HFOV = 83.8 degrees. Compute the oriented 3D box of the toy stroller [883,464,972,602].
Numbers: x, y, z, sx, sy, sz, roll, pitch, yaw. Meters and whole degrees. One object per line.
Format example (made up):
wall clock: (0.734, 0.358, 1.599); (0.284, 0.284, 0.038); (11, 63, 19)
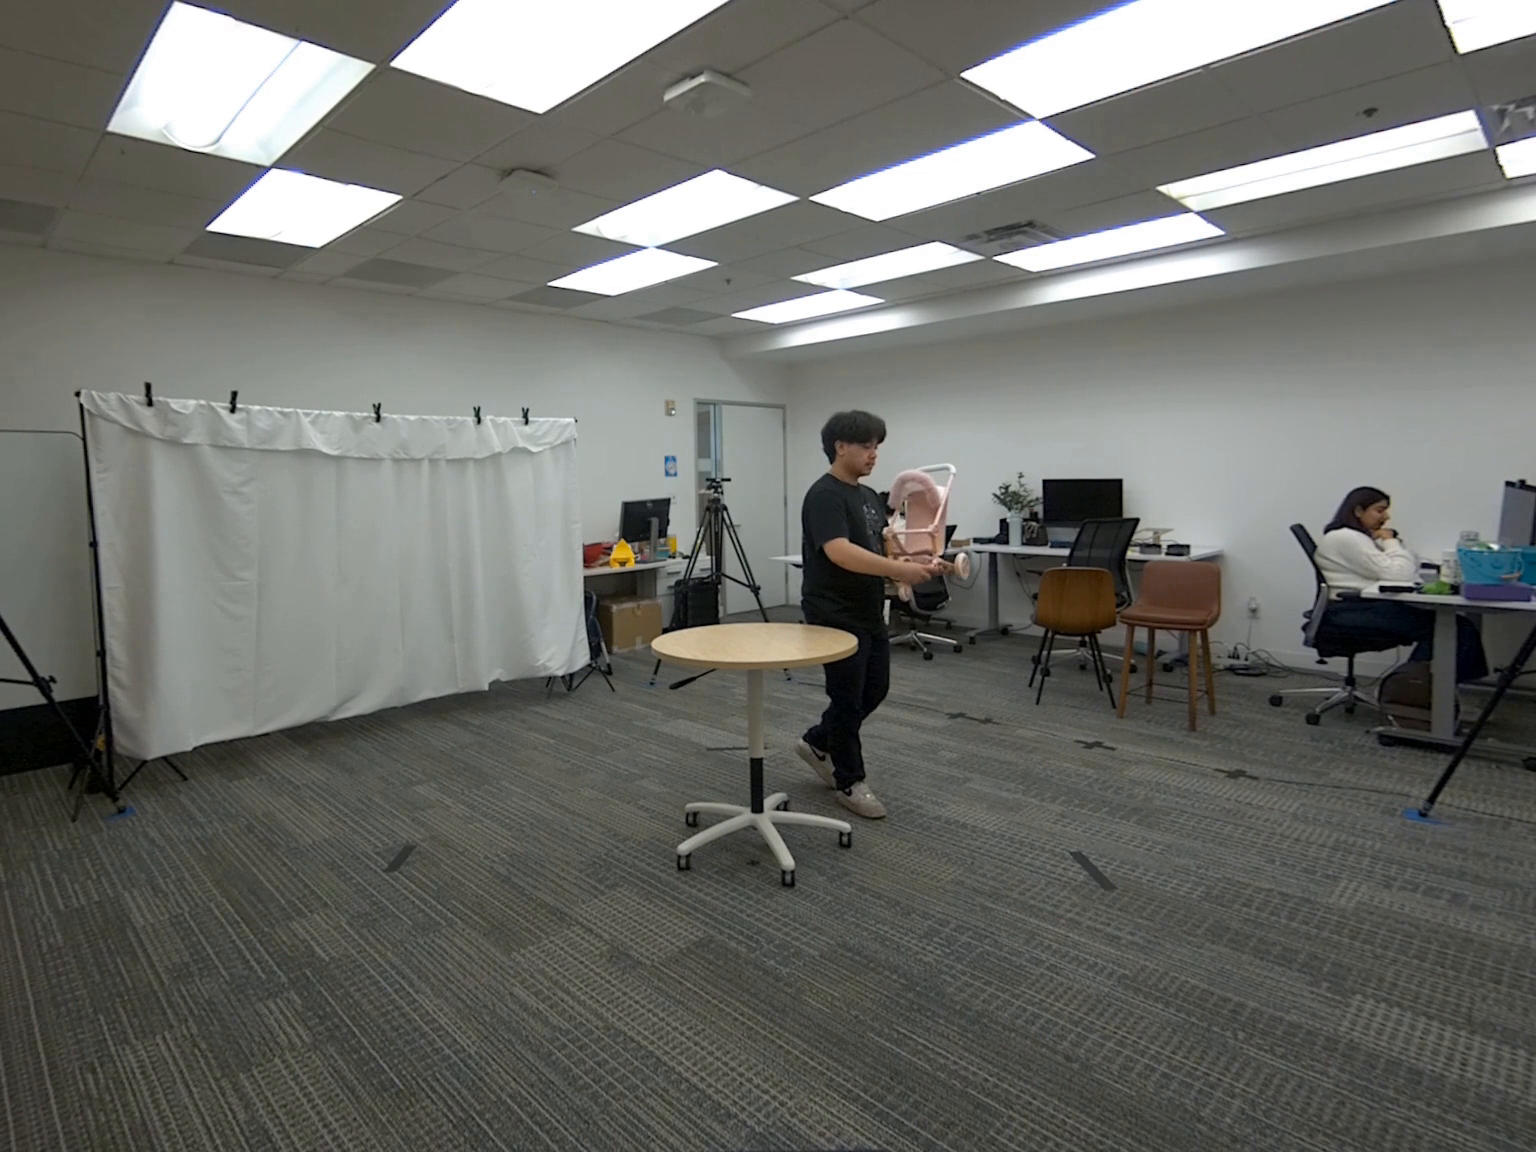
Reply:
toy stroller: (0.586, -0.178, 3.352); (0.289, 0.535, 0.332); (-3, 0, 42)
